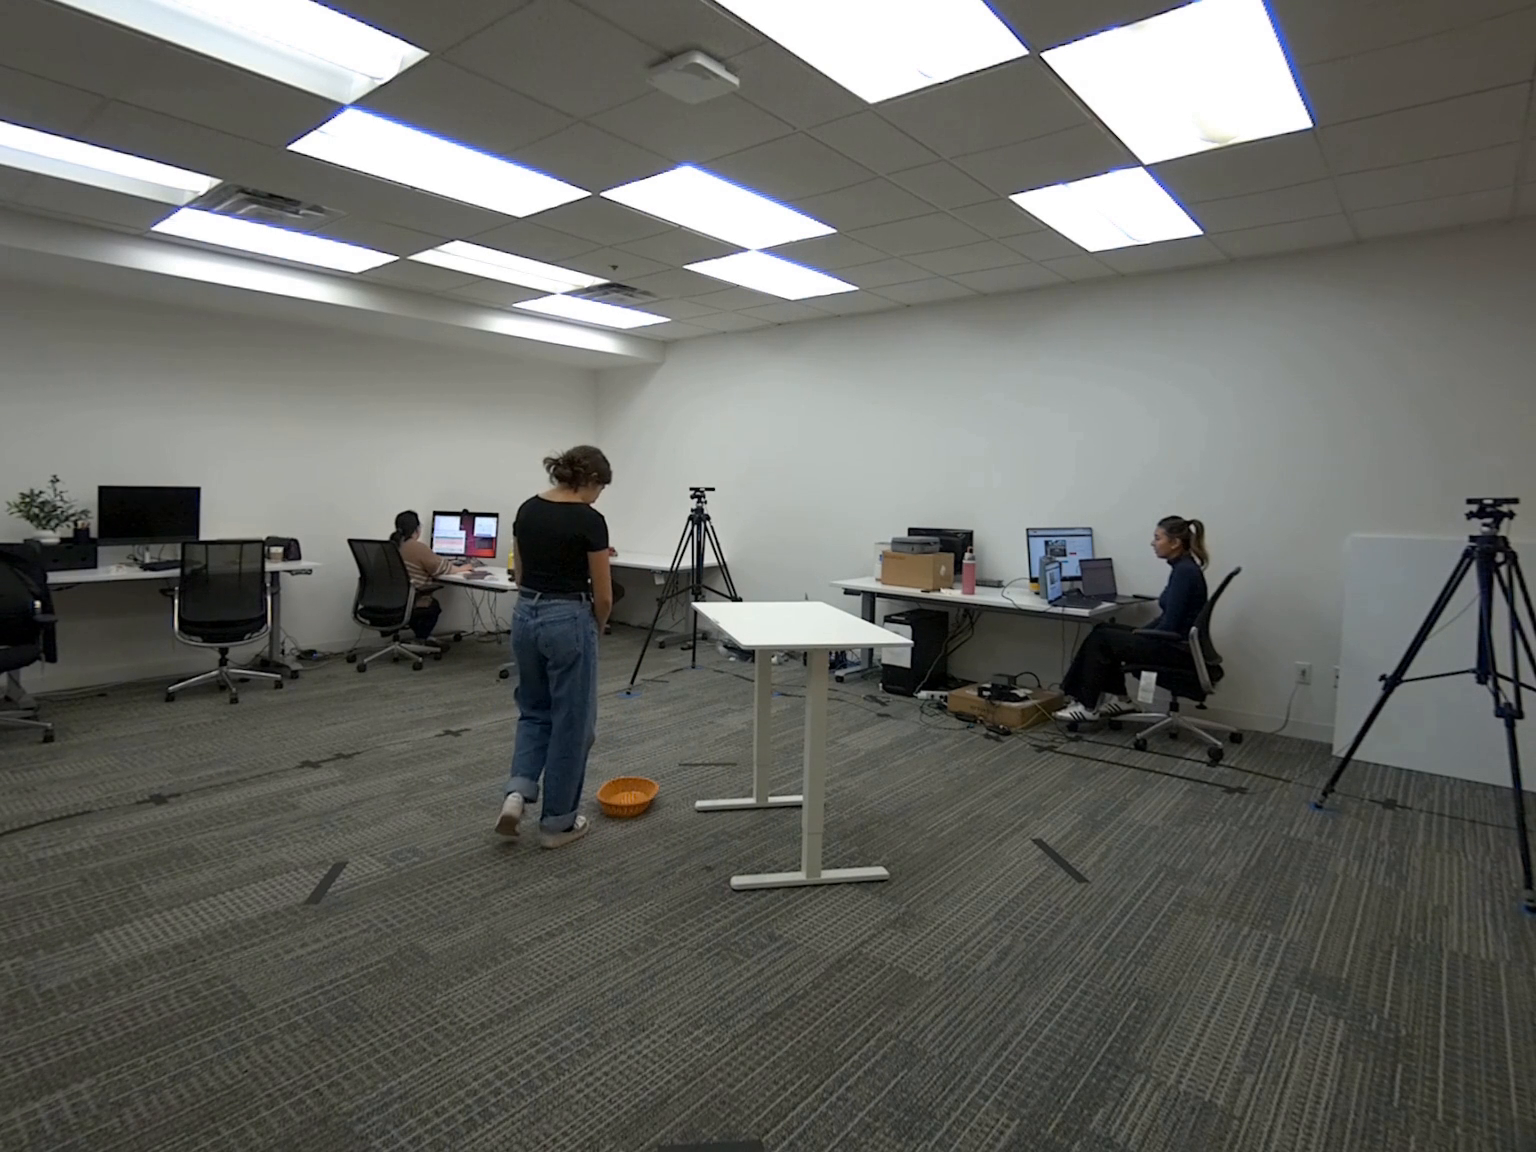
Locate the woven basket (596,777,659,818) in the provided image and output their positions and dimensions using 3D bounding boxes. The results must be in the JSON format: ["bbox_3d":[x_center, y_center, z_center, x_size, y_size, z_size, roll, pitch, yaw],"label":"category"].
[{"bbox_3d":[-0.620,0.961,3.709,0.255,0.073,0.348,3,6,9],"label":"woven basket"}]
